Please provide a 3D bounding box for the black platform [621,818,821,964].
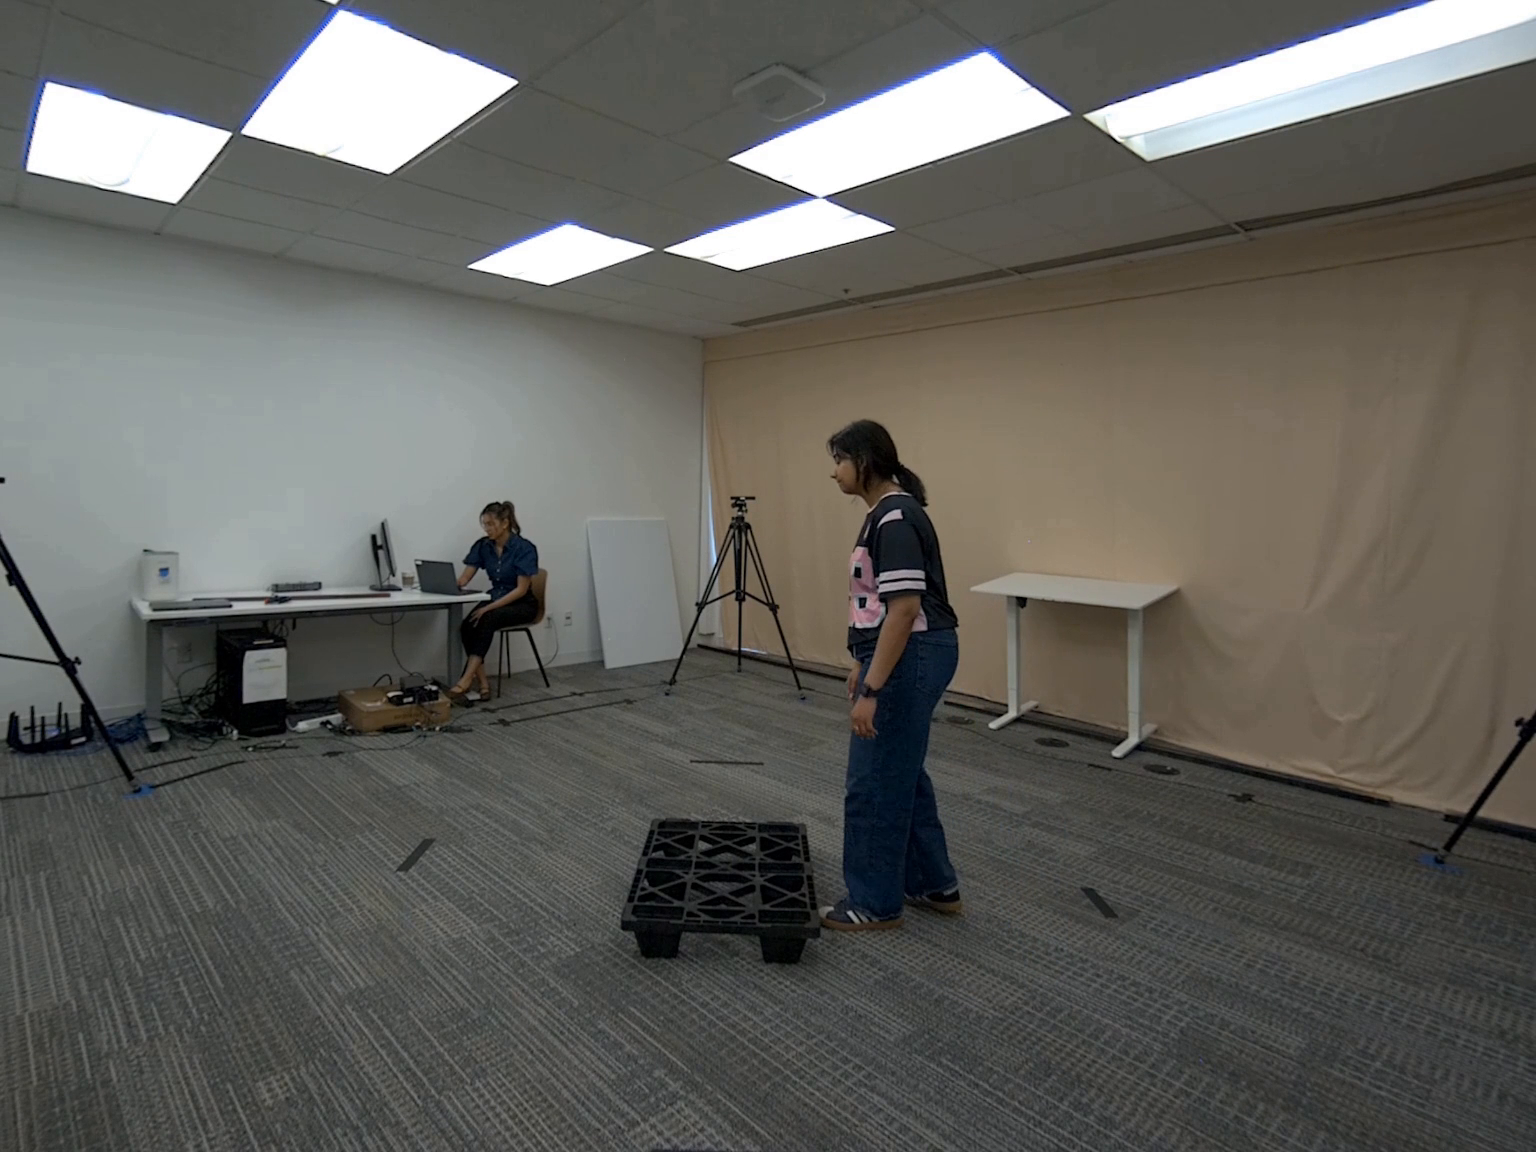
[{"bbox_3d":[-0.155,1.057,2.884,0.606,0.143,0.807,1,5,0],"label":"black platform"}]
